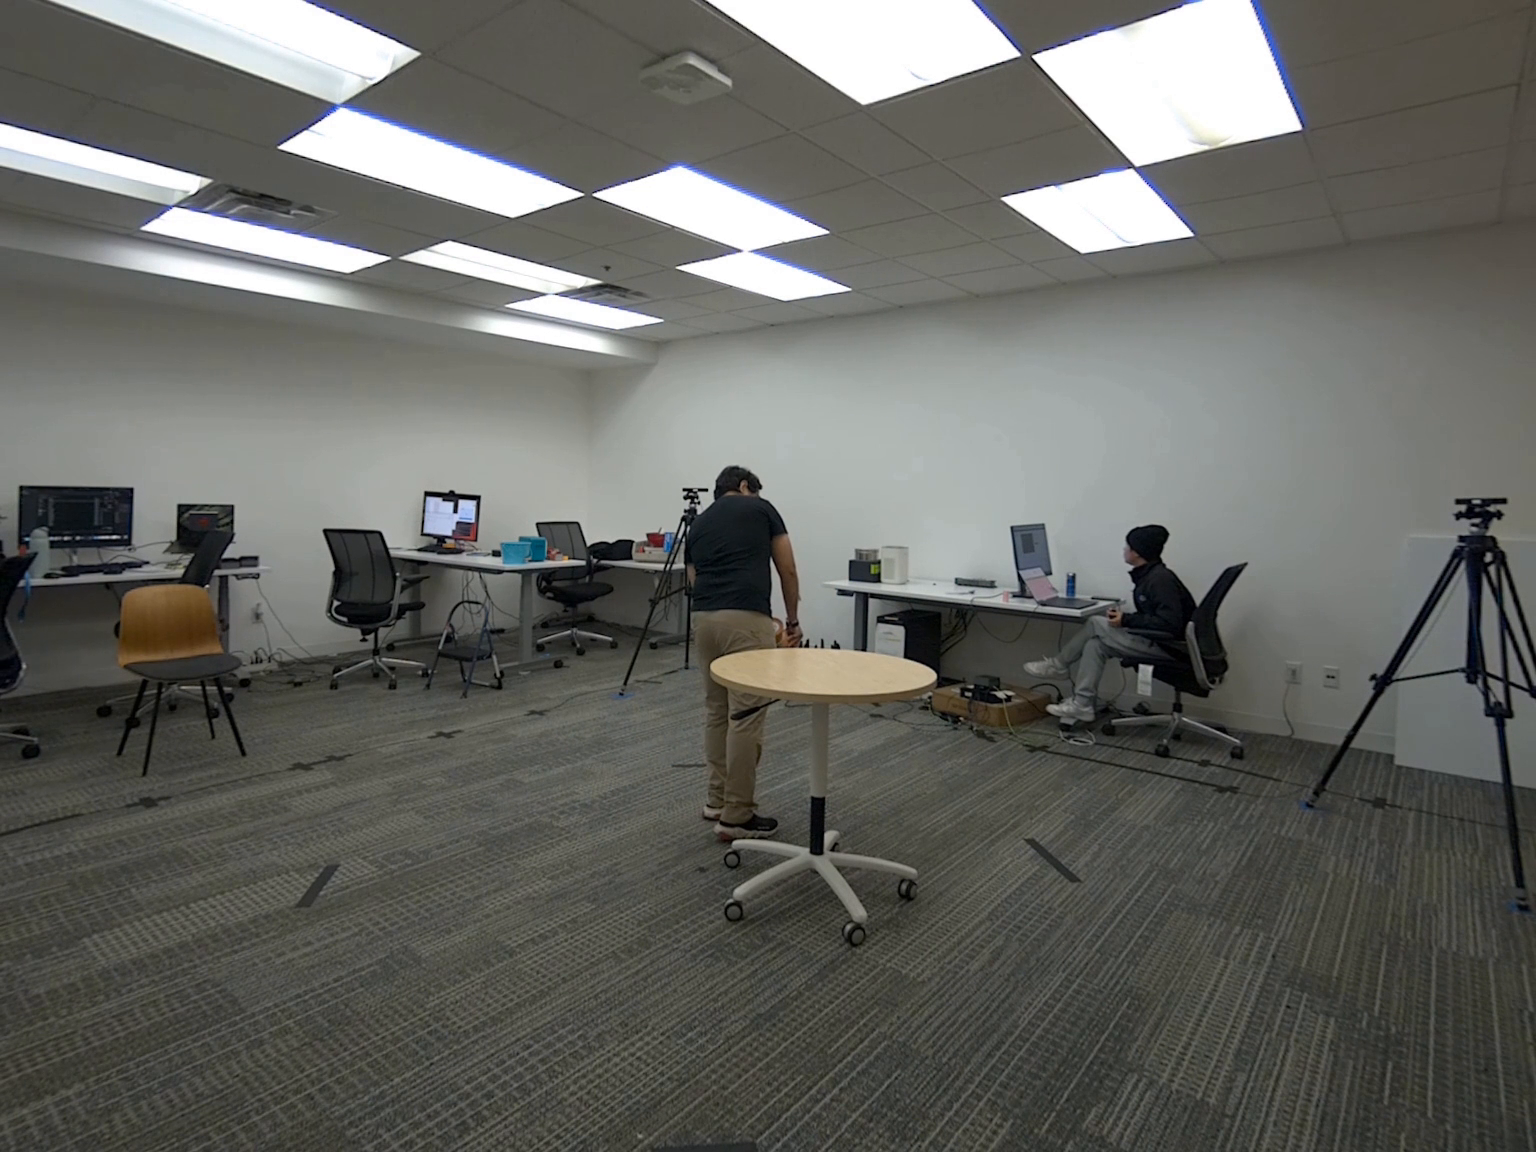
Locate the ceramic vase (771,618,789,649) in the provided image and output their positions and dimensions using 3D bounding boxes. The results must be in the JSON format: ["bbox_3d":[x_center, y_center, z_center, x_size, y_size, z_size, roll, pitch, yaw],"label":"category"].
[{"bbox_3d":[0.020,0.282,3.808,0.139,0.159,0.212,29,-28,25],"label":"ceramic vase"}]
